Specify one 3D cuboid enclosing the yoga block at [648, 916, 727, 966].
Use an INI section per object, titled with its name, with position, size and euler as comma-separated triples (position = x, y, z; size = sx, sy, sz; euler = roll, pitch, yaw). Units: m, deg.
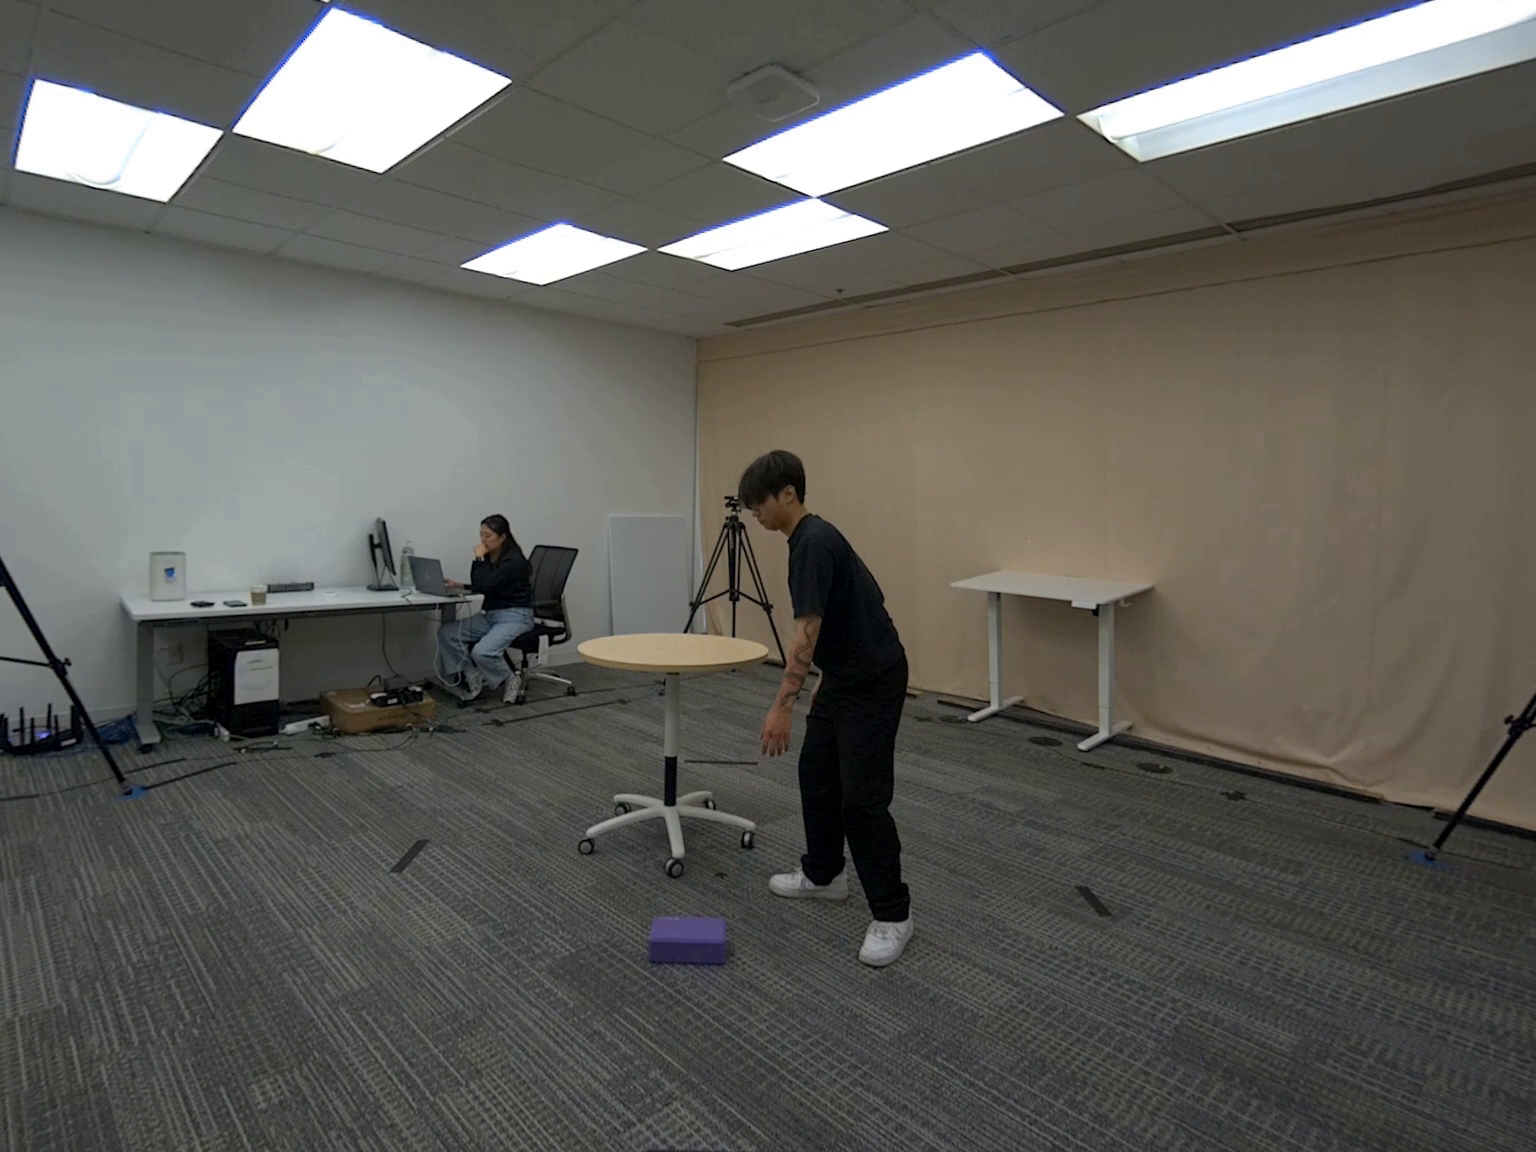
[yoga block]
position = -0.249, 1.112, 2.566
size = 0.230, 0.076, 0.149
euler = 2, 6, 2
